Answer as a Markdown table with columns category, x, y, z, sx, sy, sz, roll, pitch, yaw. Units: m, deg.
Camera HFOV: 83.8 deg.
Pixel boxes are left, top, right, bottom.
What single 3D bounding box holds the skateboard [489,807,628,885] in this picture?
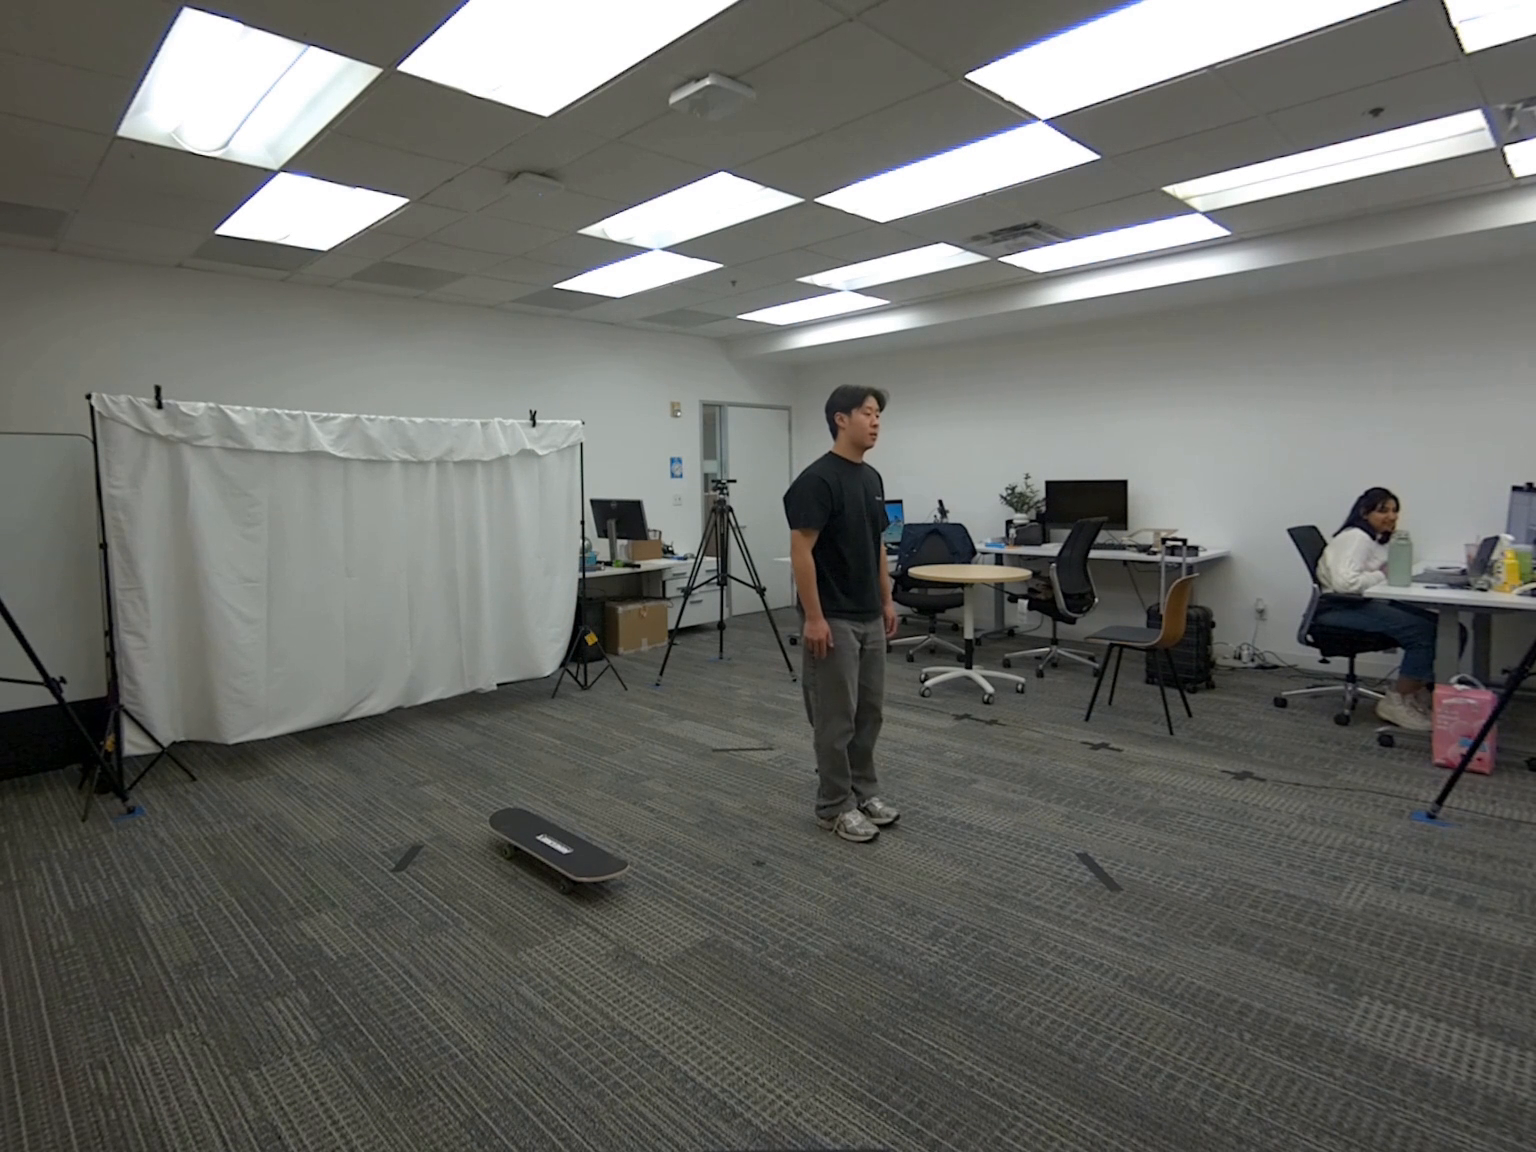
| category | x | y | z | sx | sy | sz | roll | pitch | yaw |
| --- | --- | --- | --- | --- | --- | --- | --- | --- | --- |
| skateboard | -0.775 | 1.008 | 3.108 | 0.188 | 0.110 | 0.810 | -8 | 9 | -44 |
